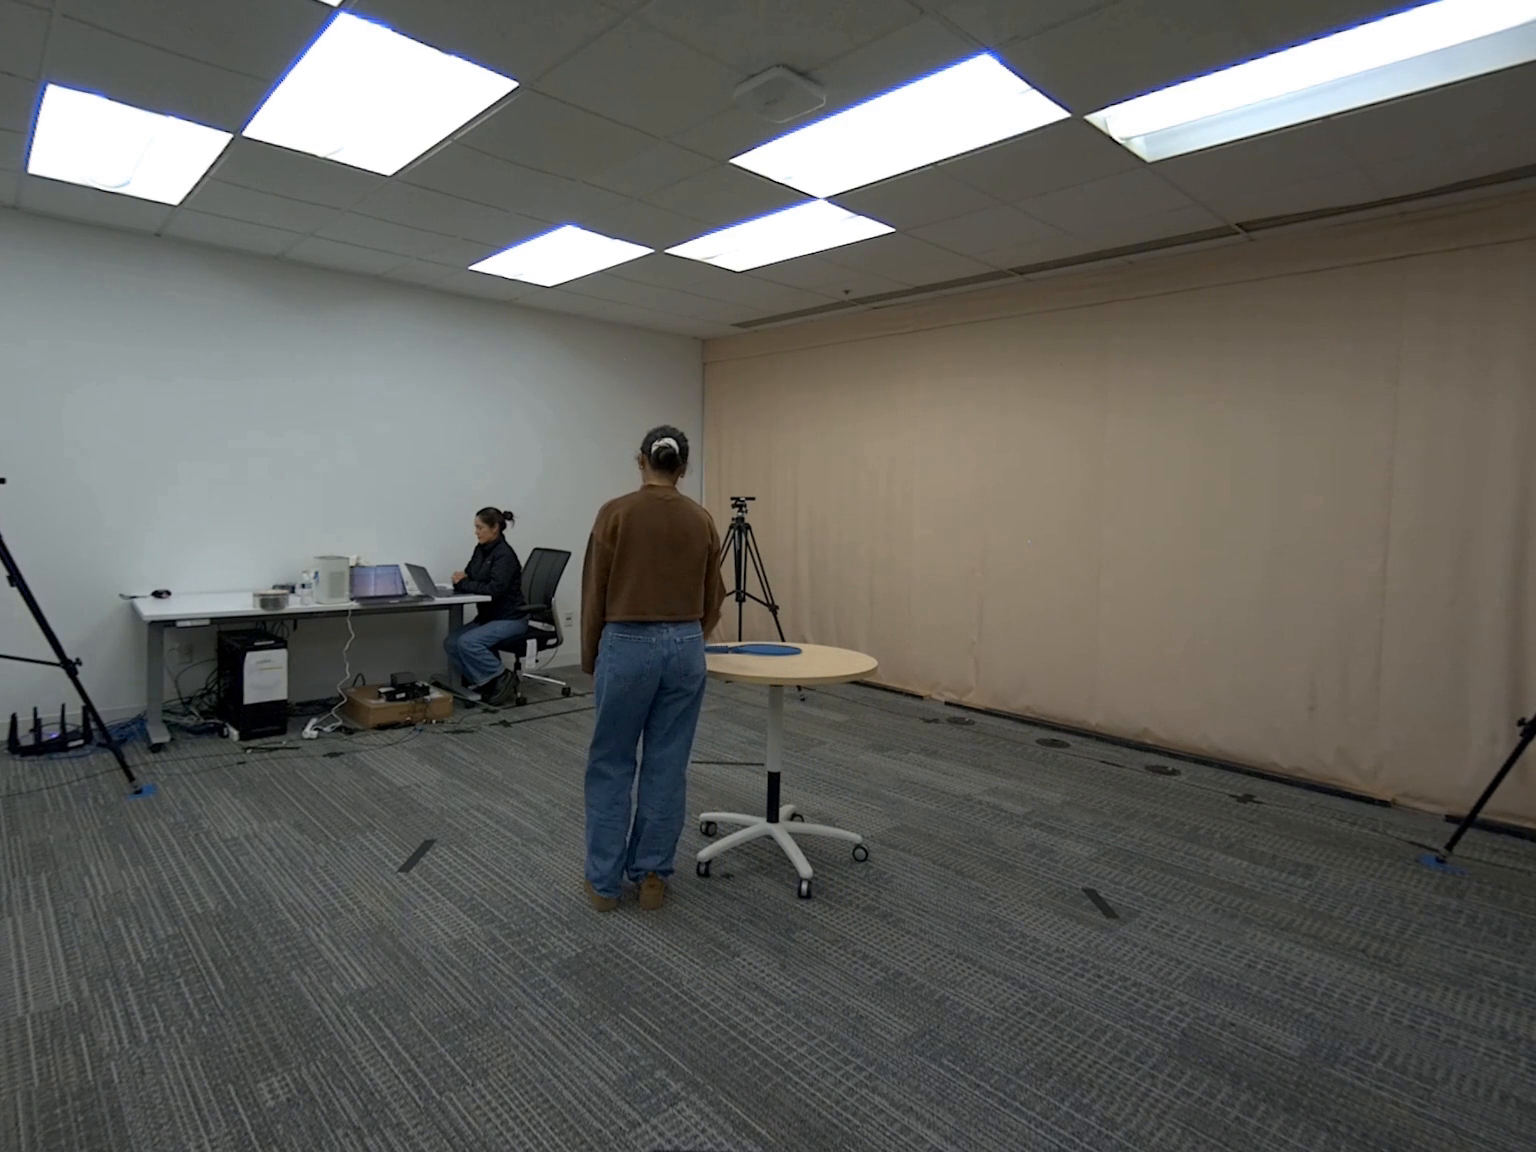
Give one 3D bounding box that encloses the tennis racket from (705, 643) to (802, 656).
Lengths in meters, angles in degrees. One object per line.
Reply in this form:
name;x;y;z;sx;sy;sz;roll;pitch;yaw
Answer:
tennis racket;-0.076;0.295;3.357;0.426;0.032;0.217;1;5;-20
